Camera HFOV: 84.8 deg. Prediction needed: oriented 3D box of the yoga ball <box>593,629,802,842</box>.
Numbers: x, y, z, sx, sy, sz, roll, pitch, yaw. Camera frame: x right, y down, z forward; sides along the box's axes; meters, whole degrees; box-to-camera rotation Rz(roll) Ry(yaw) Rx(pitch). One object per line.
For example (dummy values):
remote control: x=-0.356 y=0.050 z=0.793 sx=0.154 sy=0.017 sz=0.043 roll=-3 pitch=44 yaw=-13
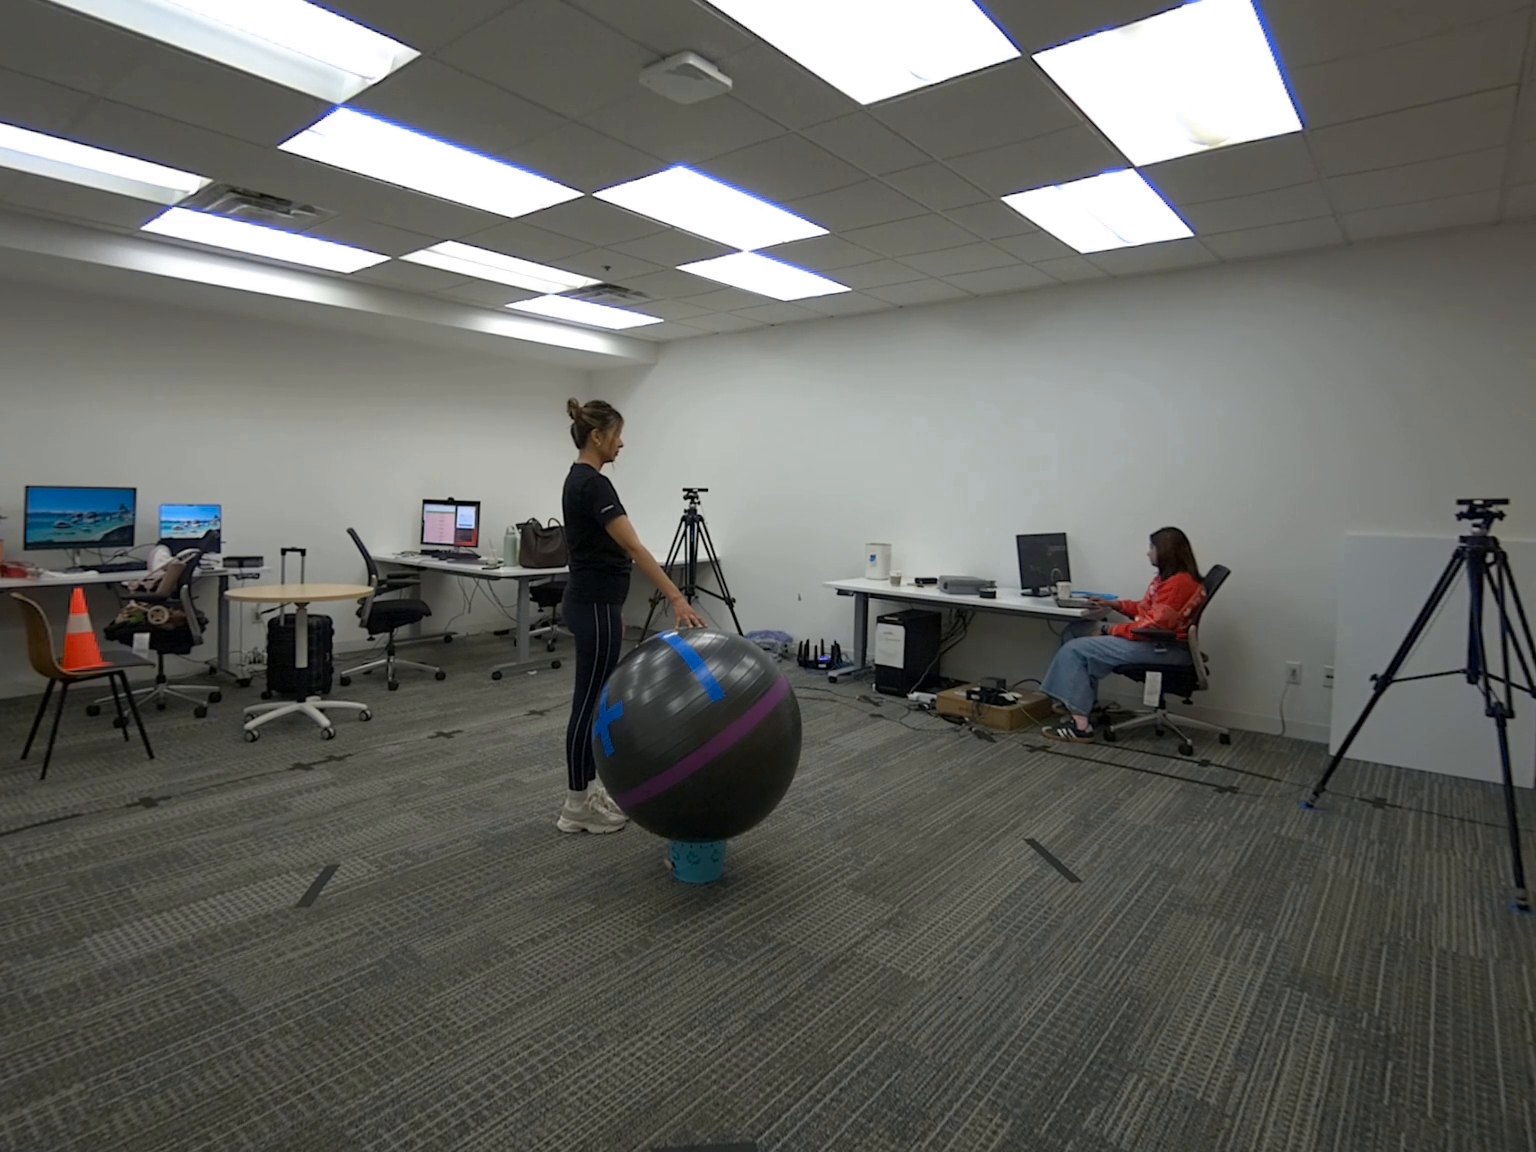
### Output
yoga ball: x=-0.268 y=0.567 z=3.072 sx=0.757 sy=0.755 sz=0.762 roll=1 pitch=4 yaw=-2
